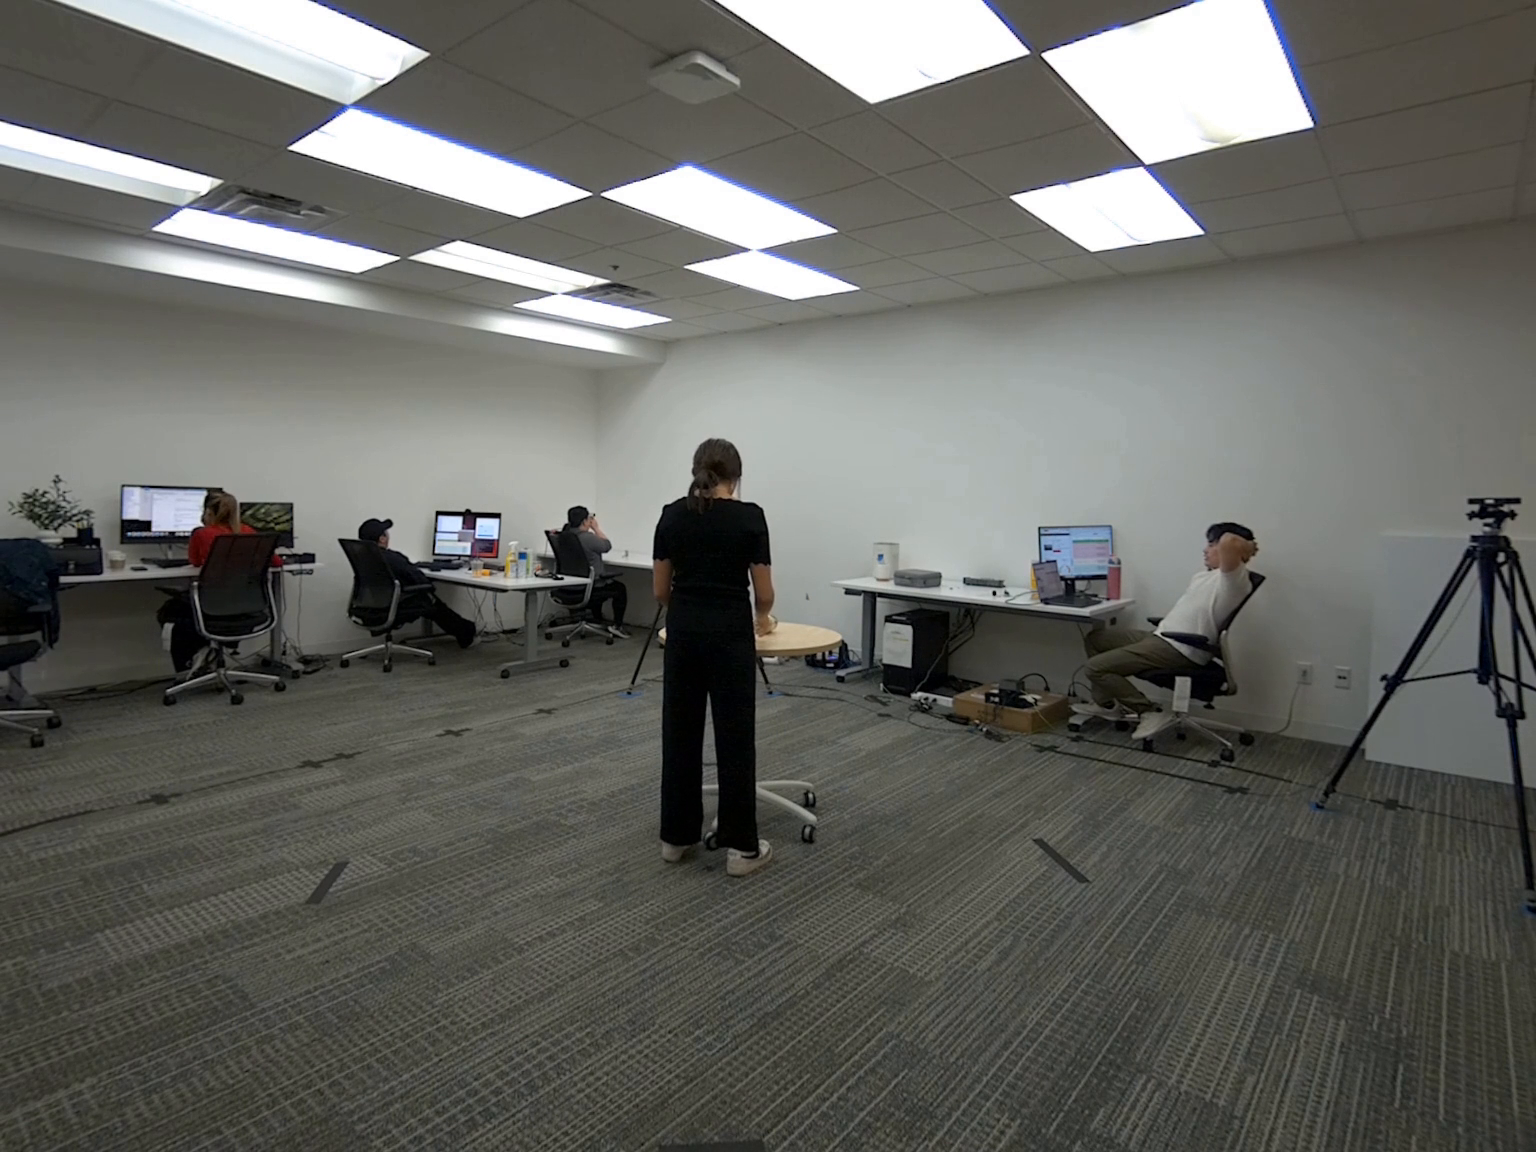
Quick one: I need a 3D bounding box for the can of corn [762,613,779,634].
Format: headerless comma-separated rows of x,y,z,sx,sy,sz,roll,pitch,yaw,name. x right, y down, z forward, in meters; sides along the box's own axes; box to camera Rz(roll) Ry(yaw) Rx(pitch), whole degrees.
-0.021,0.197,3.601,0.075,0.074,0.110,2,7,14,can of corn
